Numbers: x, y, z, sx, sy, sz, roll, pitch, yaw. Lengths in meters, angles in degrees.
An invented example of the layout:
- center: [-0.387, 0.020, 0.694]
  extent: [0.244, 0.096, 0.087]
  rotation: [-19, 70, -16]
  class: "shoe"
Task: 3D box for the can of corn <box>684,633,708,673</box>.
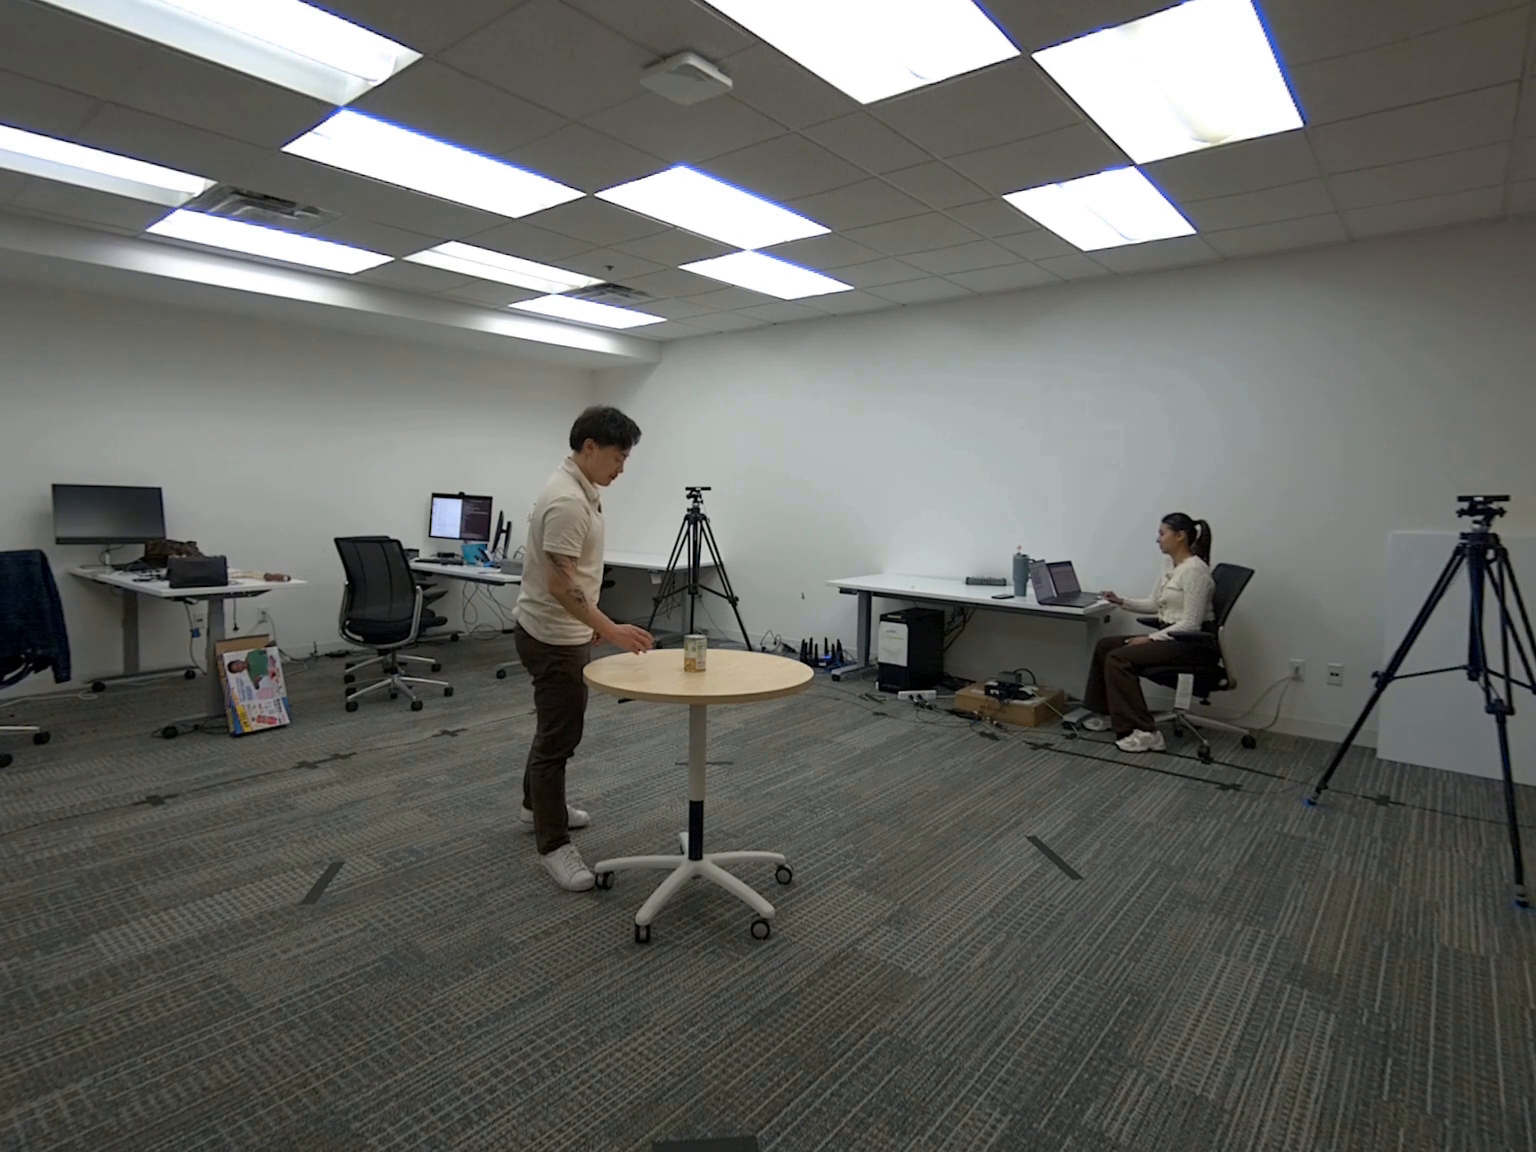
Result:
- center: [-0.249, 0.254, 2.822]
  extent: [0.074, 0.111, 0.074]
  rotation: [2, 2, -2]
  class: "can of corn"
